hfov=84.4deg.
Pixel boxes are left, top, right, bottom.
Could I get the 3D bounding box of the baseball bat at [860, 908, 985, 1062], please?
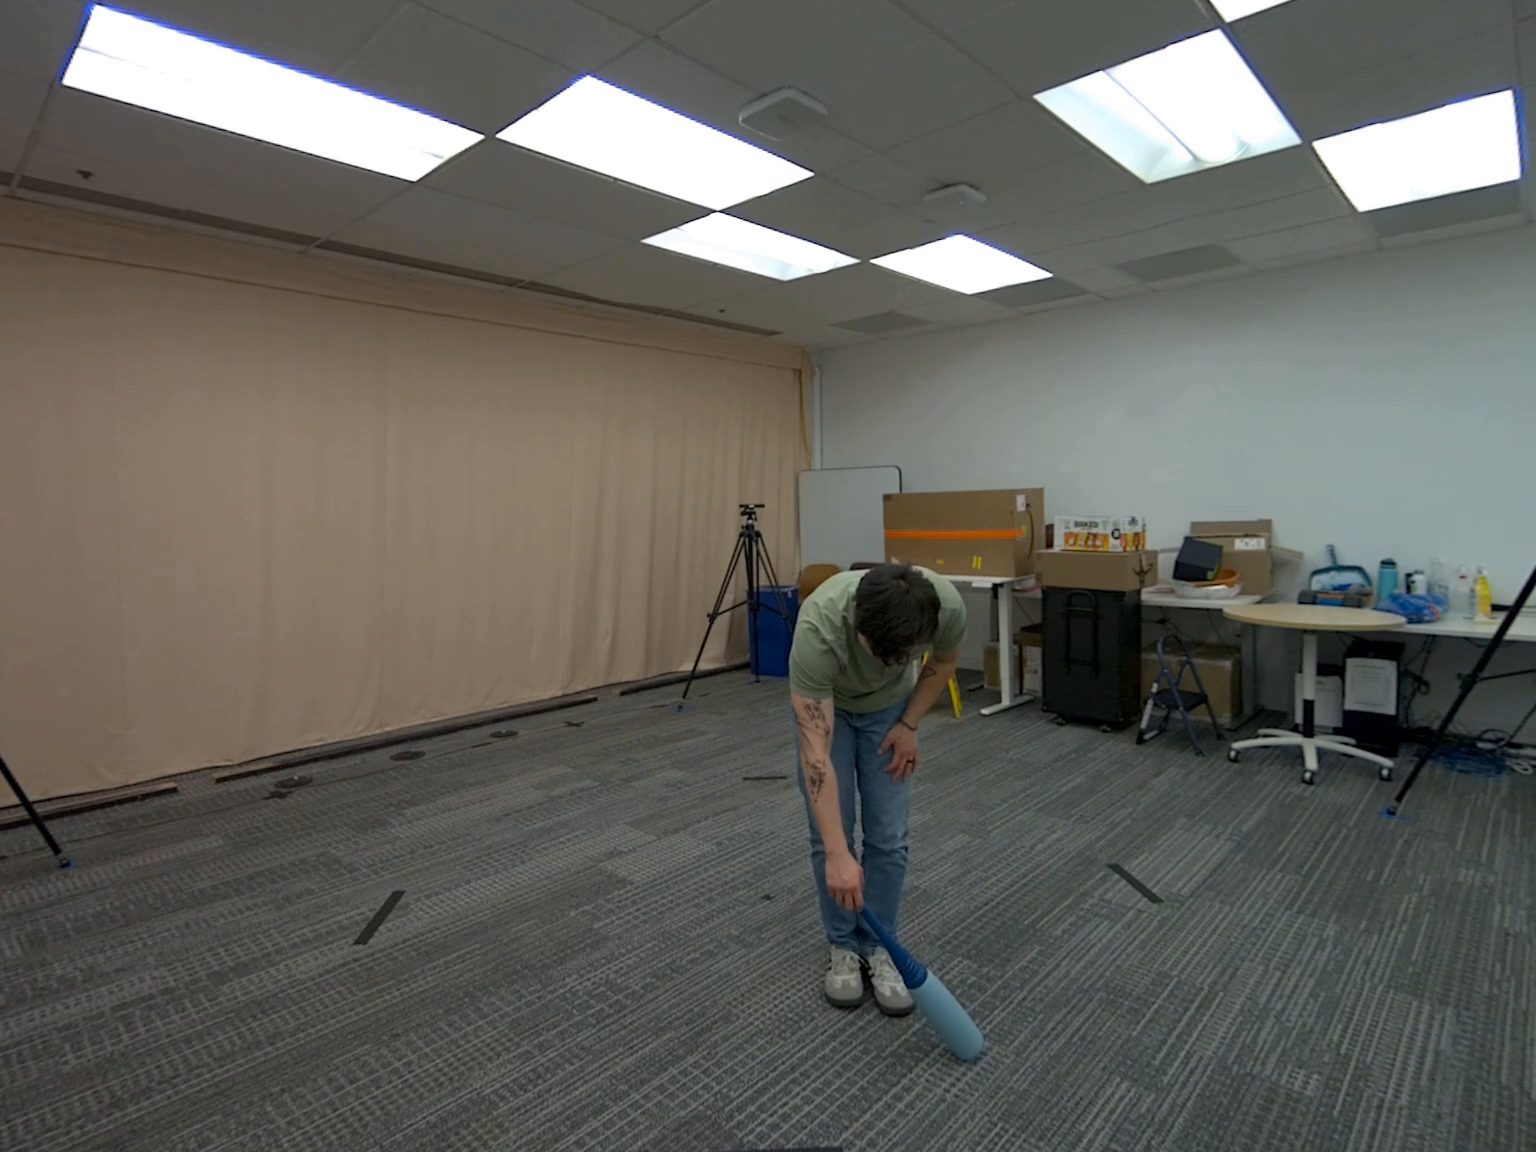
[{"bbox_3d":[0.364,0.976,2.073,0.089,0.536,0.090,-35,11,7],"label":"baseball bat"}]
